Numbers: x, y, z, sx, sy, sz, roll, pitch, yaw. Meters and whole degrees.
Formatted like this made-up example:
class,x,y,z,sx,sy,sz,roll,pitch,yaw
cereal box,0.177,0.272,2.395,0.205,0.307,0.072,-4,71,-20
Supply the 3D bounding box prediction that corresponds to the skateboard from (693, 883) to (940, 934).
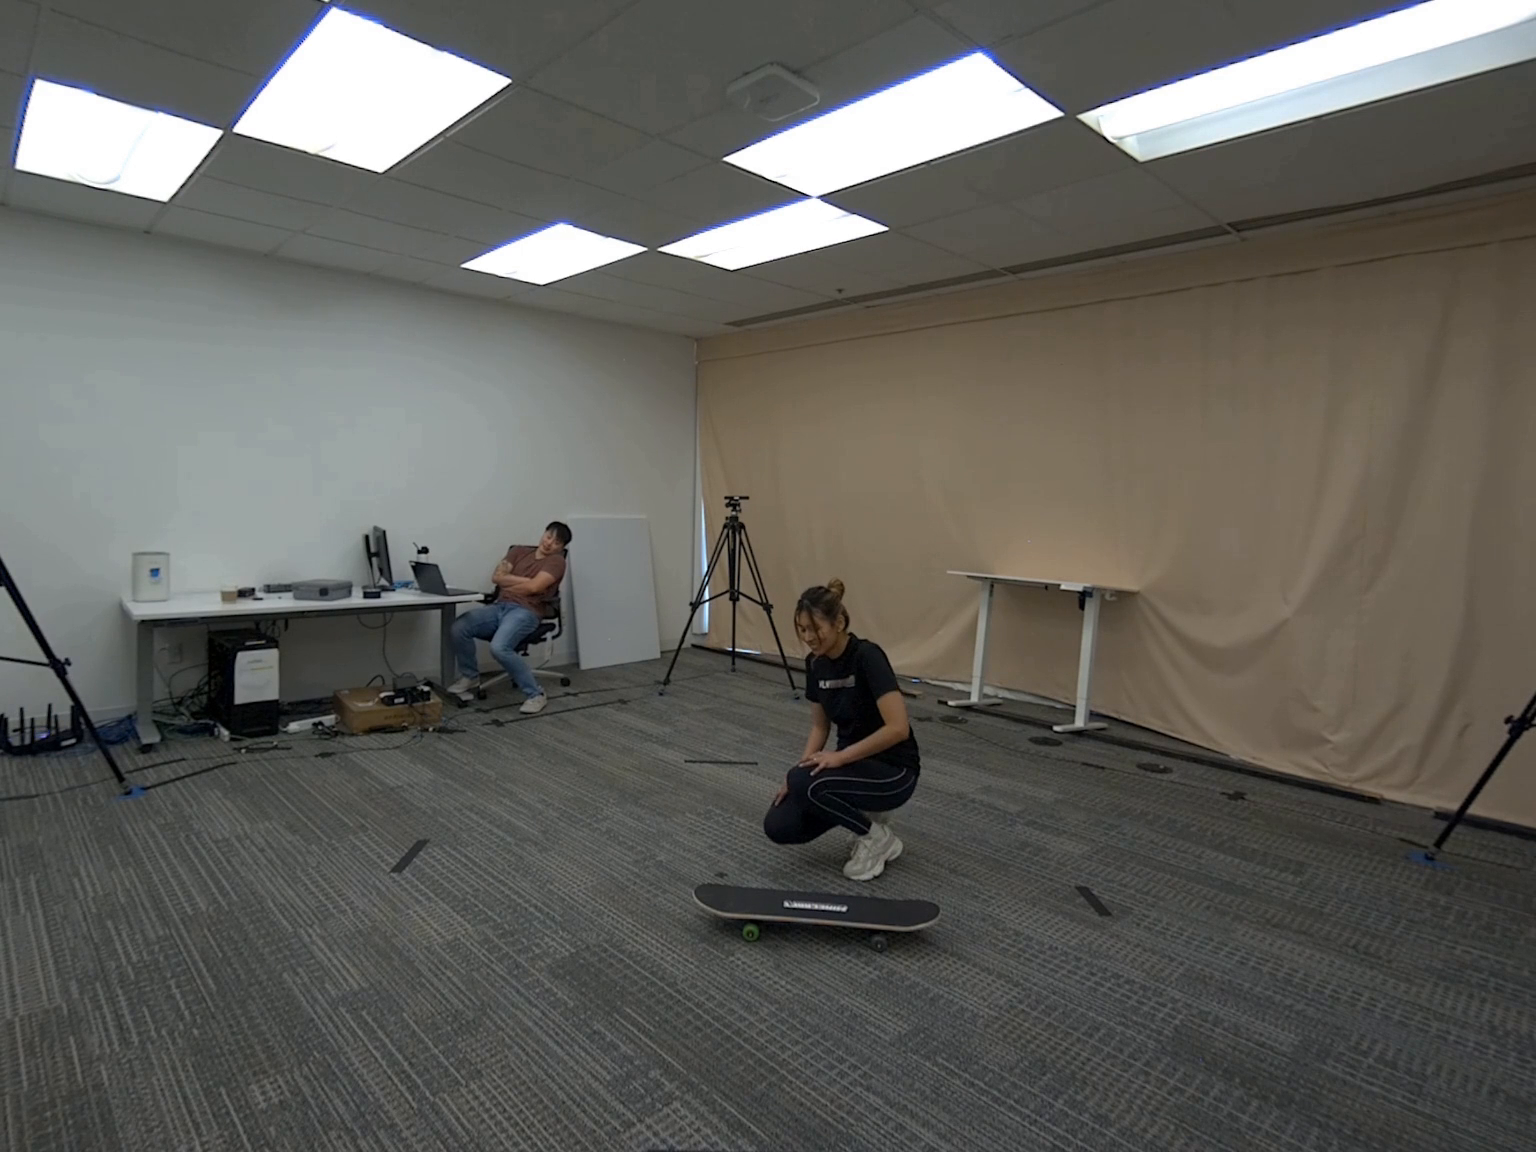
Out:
class,x,y,z,sx,sy,sz,roll,pitch,yaw
skateboard,0.139,1.090,2.701,0.789,0.110,0.193,2,4,6
